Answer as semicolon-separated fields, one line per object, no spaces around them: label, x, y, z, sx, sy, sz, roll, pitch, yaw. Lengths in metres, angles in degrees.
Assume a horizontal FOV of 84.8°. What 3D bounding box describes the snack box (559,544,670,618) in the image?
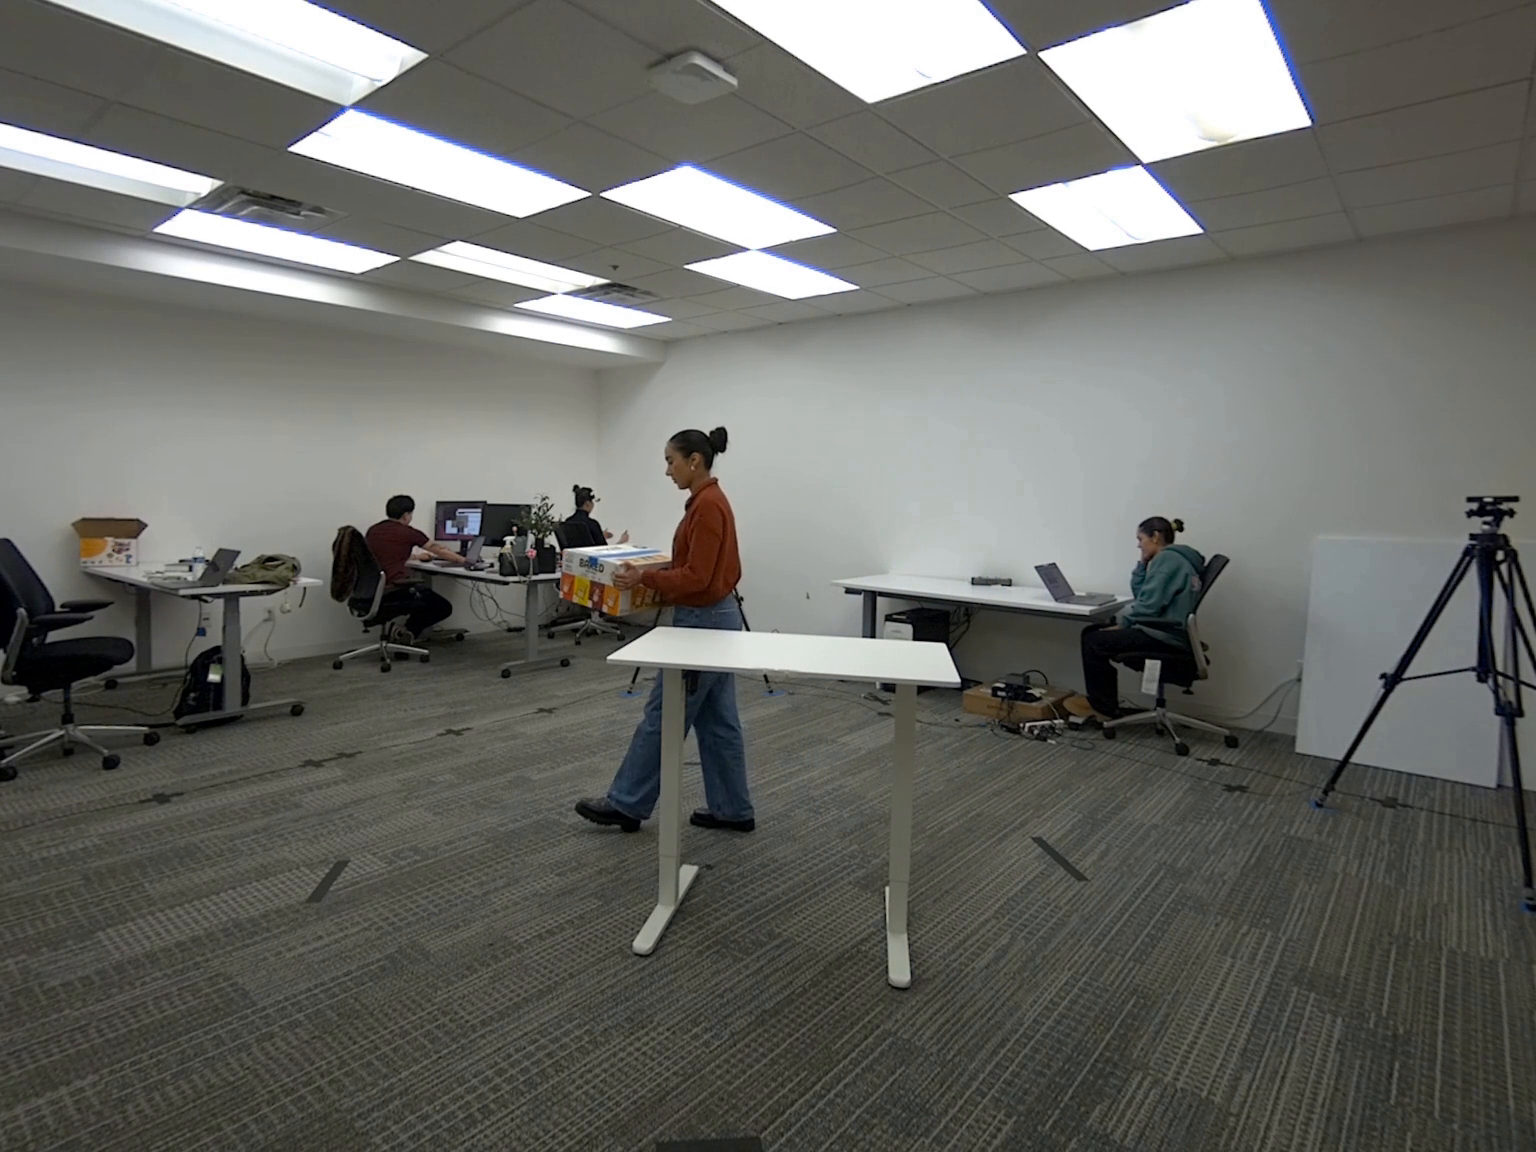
snack box;-0.612;0.005;3.526;0.352;0.204;0.394;14;13;33
